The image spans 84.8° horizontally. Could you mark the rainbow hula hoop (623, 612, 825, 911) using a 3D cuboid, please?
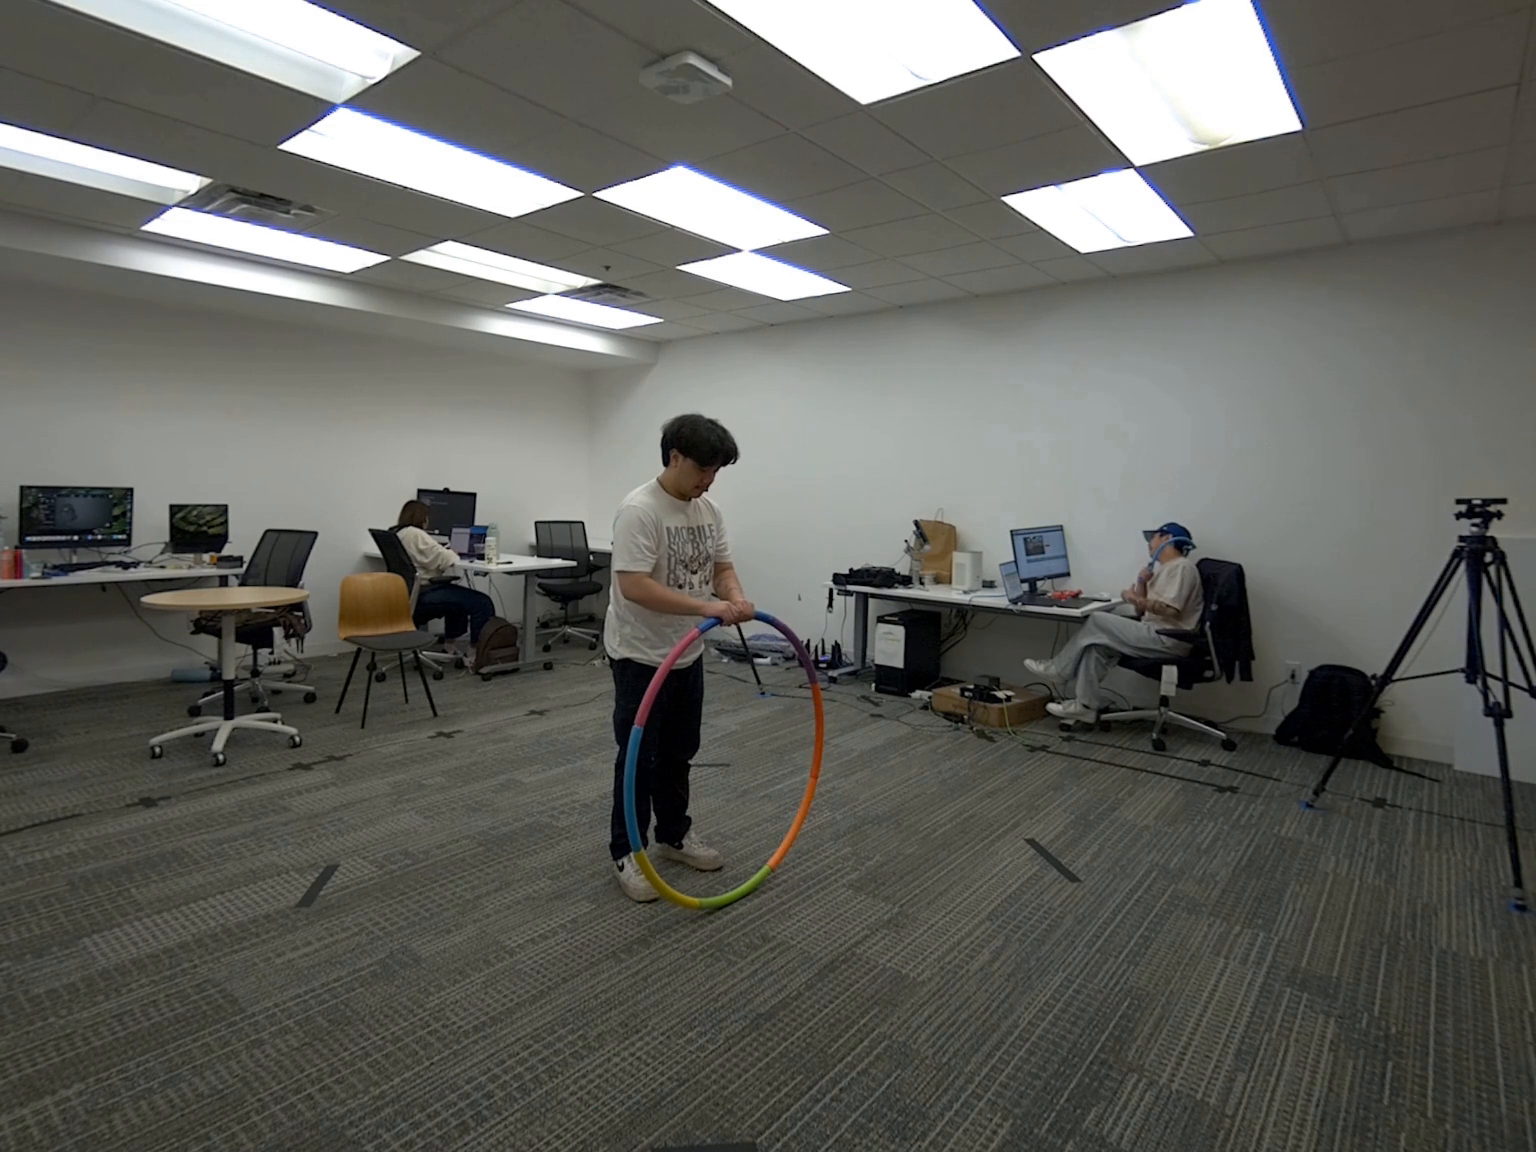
[{"bbox_3d":[-0.119,0.605,2.854,0.053,0.983,0.956,2,3,41],"label":"rainbow hula hoop"}]
